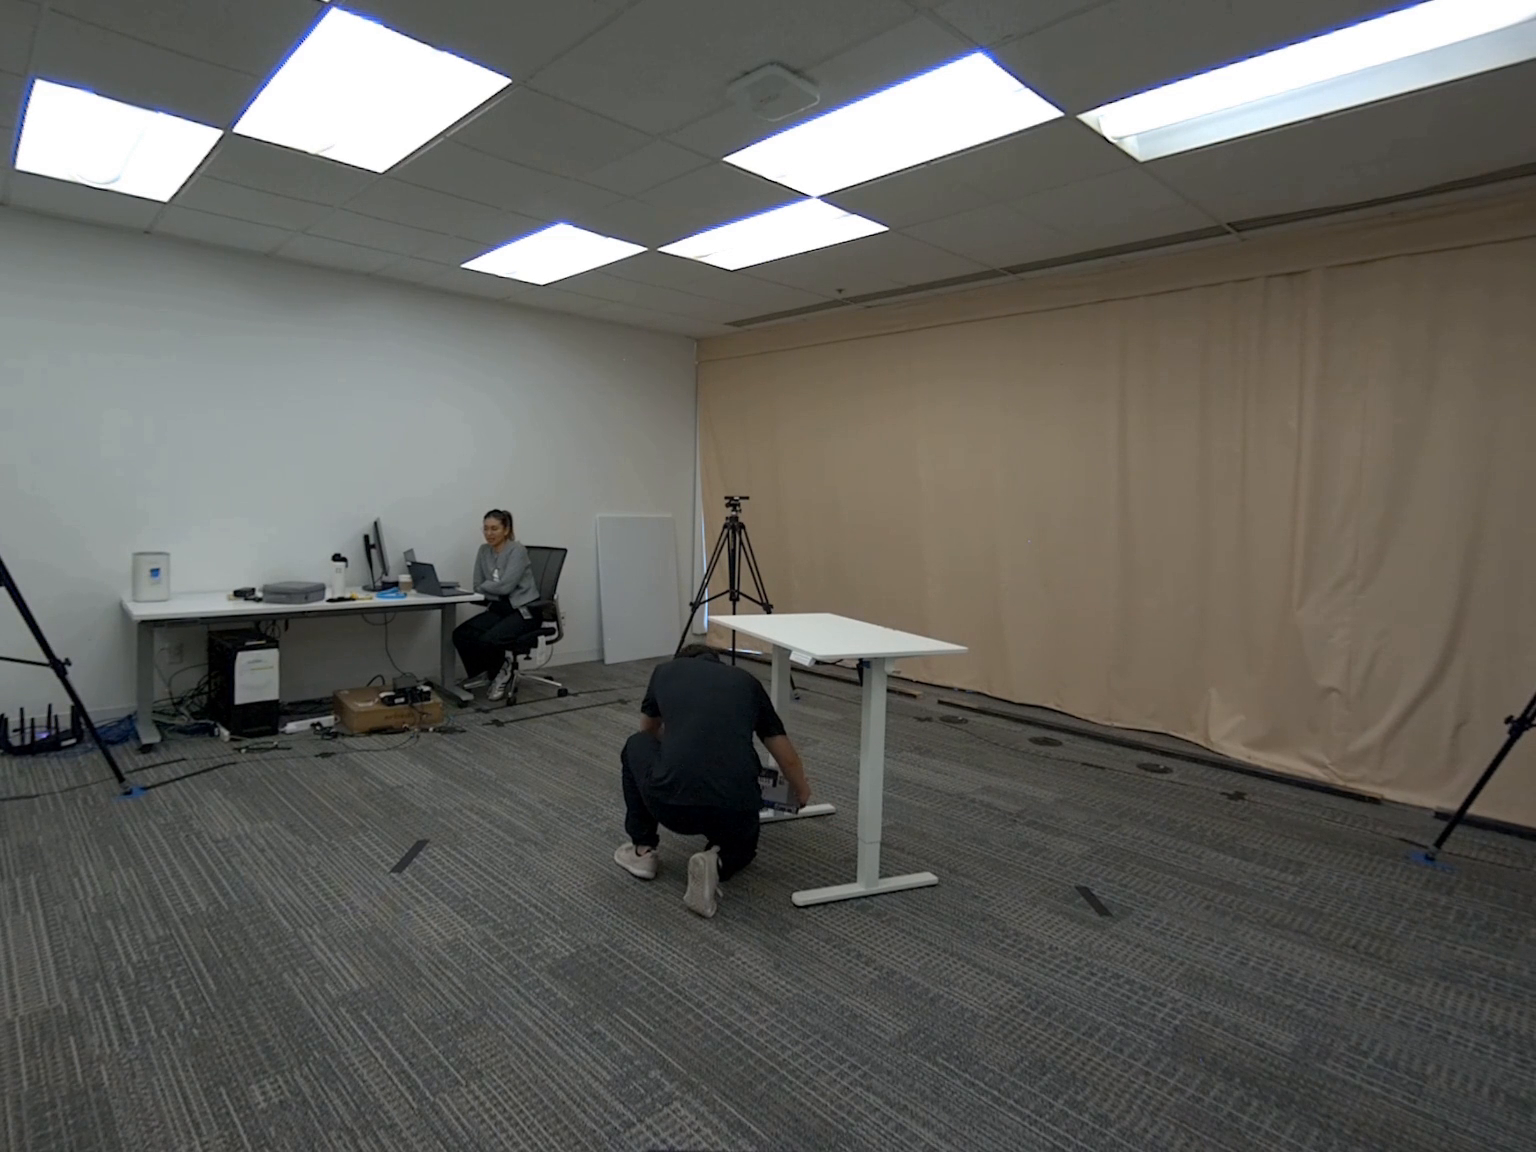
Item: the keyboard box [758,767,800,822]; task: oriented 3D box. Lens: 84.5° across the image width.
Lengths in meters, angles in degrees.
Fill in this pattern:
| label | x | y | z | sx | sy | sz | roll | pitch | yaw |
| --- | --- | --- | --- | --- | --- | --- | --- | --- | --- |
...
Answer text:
| label | x | y | z | sx | sy | sz | roll | pitch | yaw |
| --- | --- | --- | --- | --- | --- | --- | --- | --- | --- |
| keyboard box | -0.091 | 0.867 | 3.499 | 0.437 | 0.058 | 0.179 | 10 | 39 | 1 |
